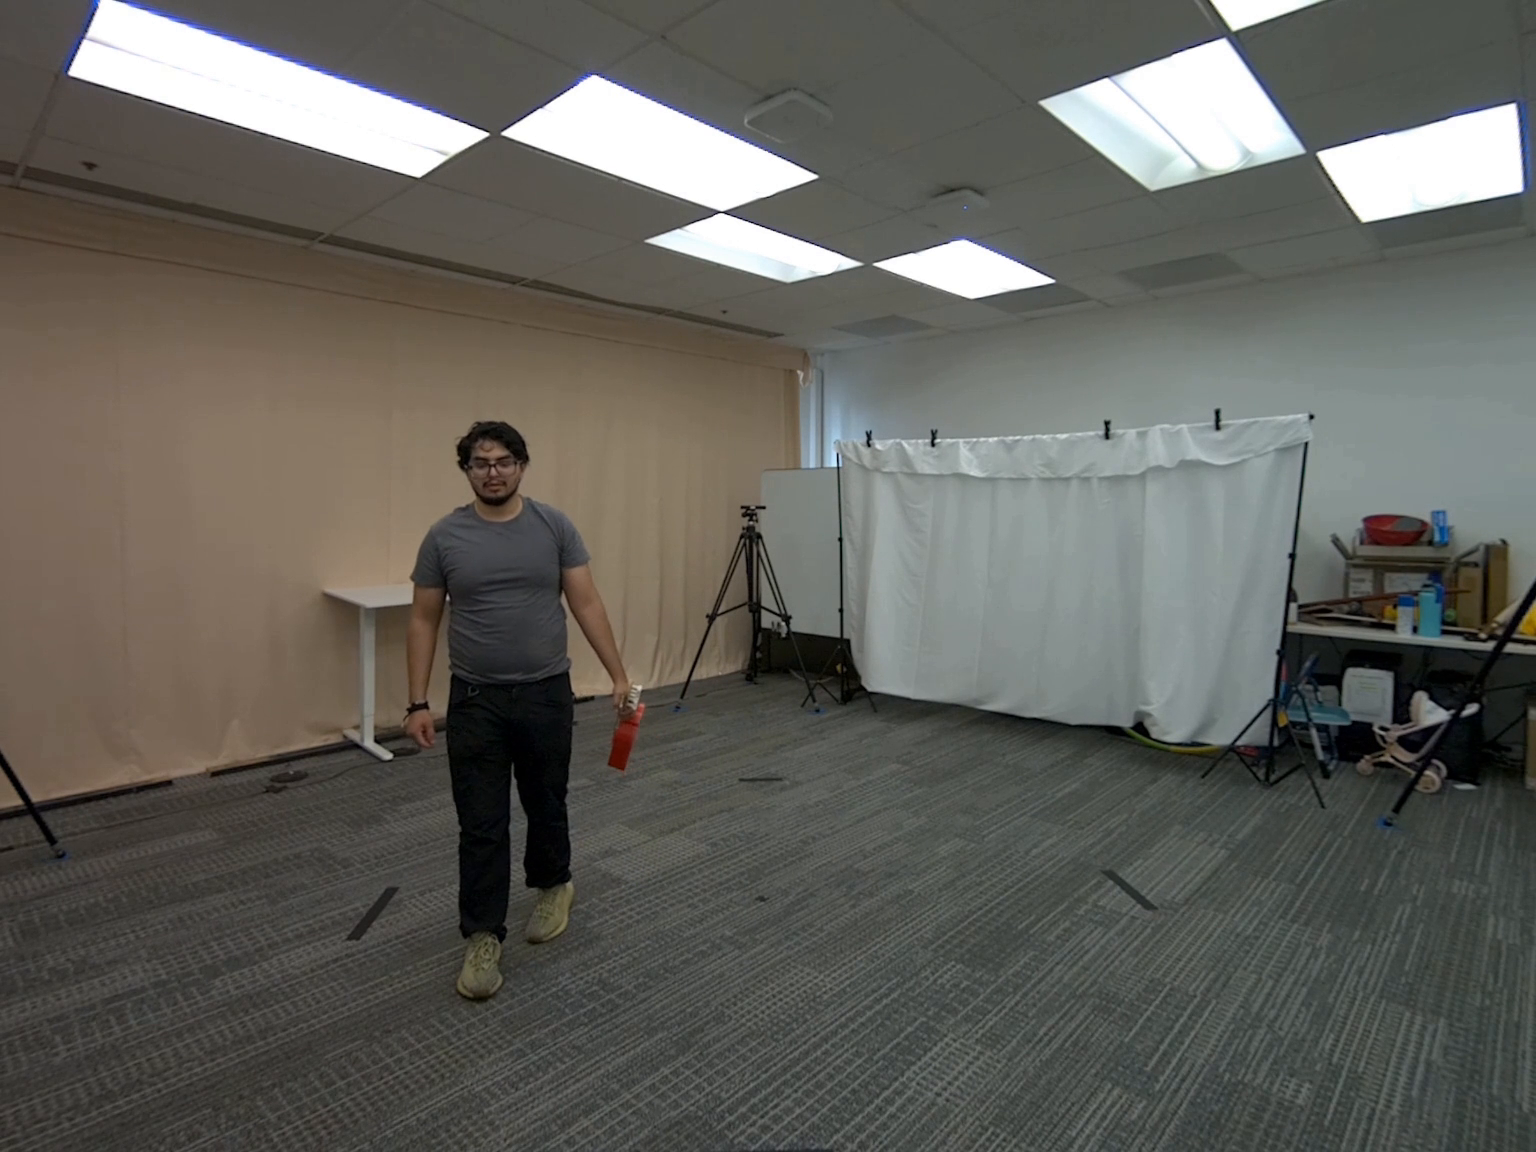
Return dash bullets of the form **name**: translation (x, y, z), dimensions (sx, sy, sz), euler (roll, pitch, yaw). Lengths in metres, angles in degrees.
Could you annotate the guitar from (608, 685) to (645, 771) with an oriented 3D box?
- **guitar**: translation (-0.439, 0.471, 2.572), dimensions (0.070, 0.194, 0.495), euler (16, -24, -4)
